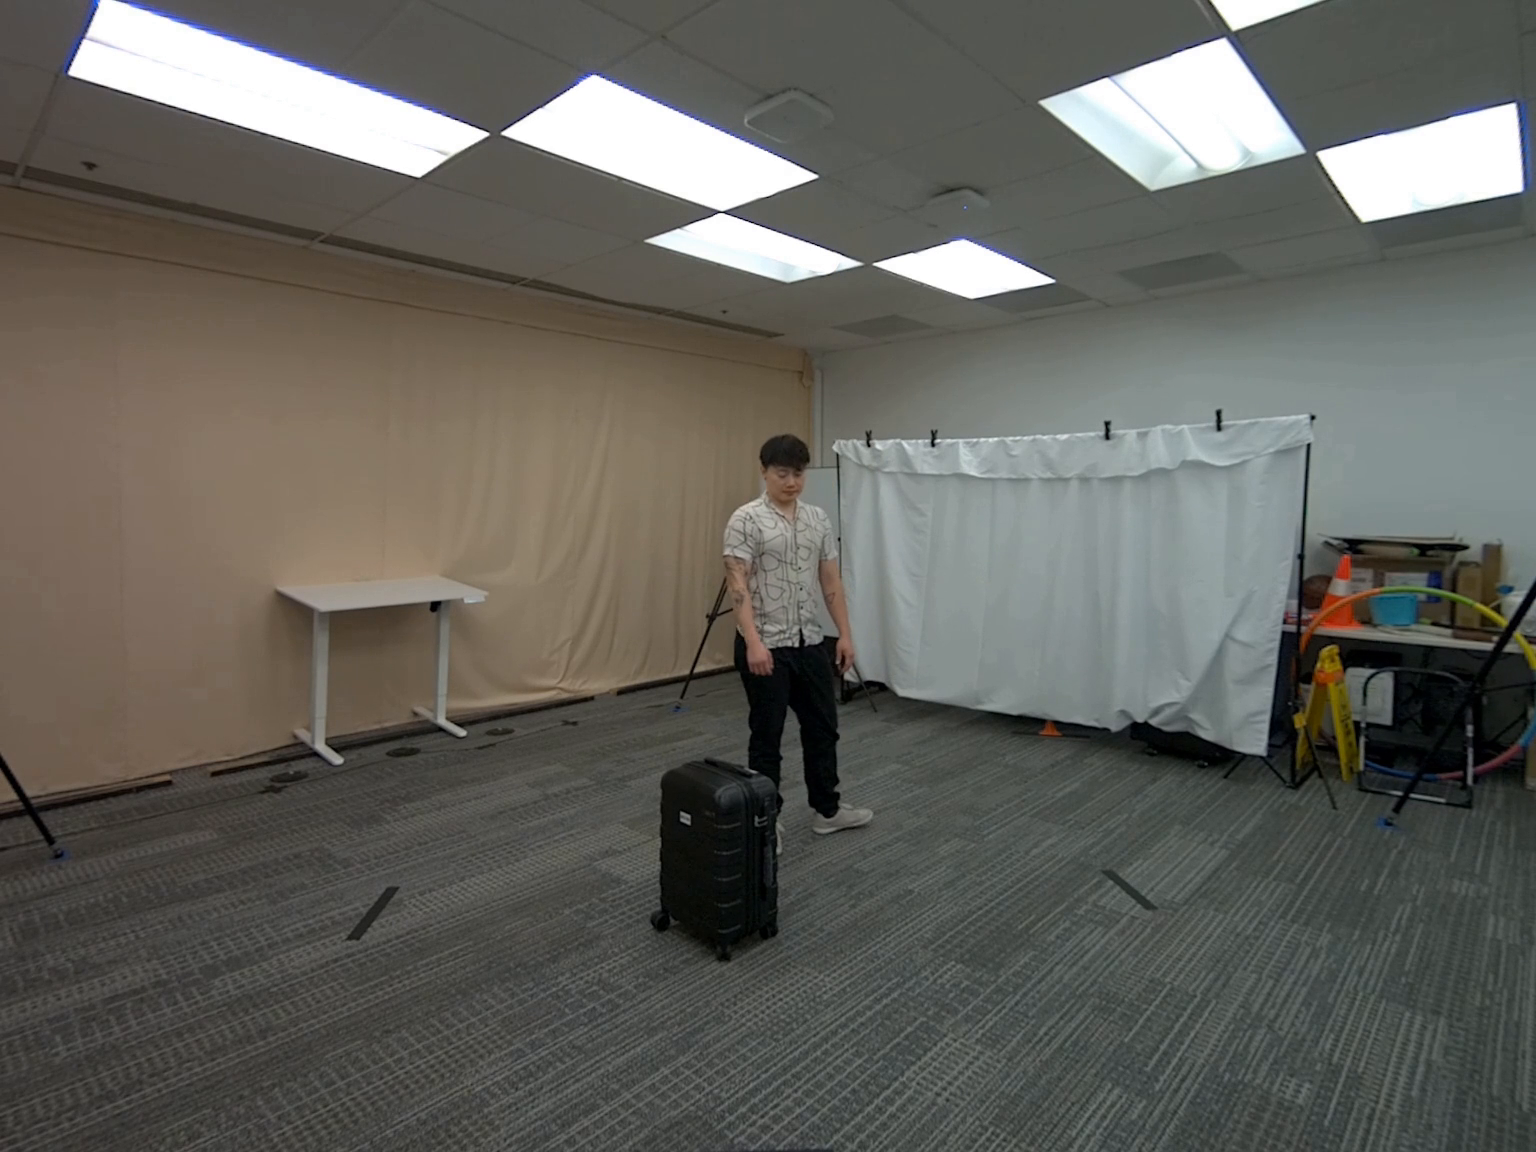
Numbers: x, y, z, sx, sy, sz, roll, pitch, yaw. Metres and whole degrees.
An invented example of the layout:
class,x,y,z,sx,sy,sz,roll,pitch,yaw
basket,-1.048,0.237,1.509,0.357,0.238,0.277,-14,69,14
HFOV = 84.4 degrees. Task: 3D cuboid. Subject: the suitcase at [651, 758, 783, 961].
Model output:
class,x,y,z,sx,sy,sz,roll,pitch,yaw
suitcase,-0.163,0.890,2.721,0.241,0.548,0.388,-3,5,-41
